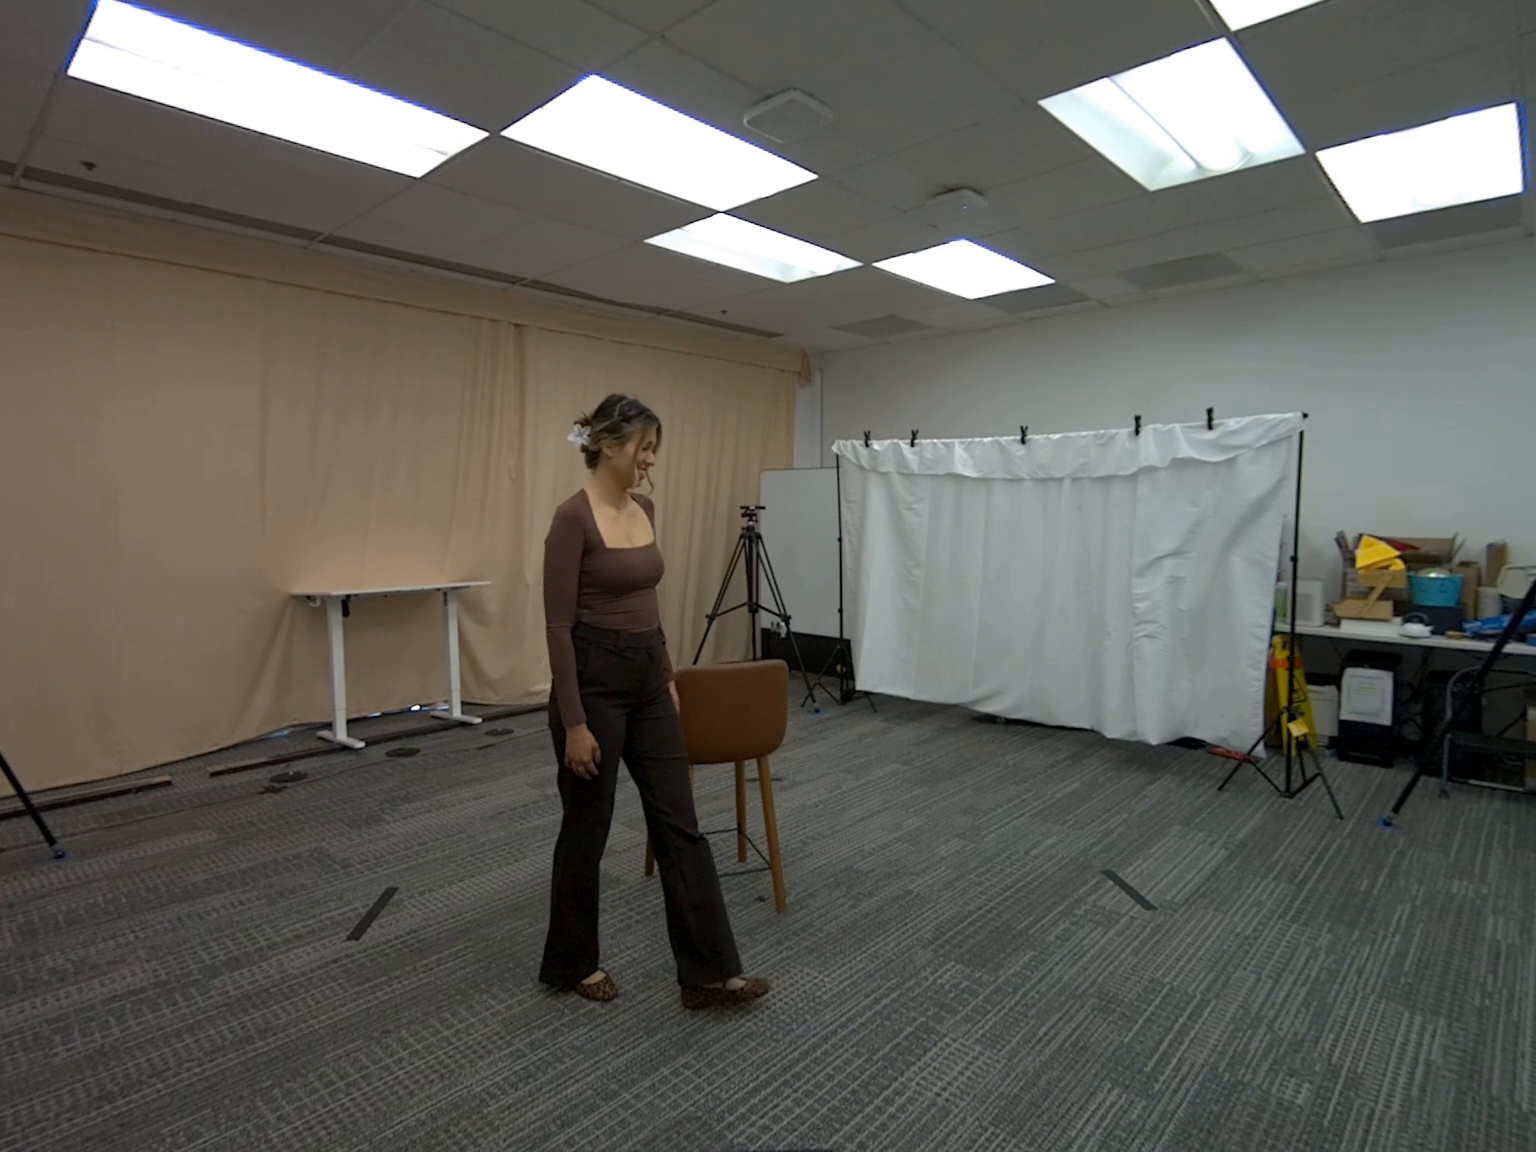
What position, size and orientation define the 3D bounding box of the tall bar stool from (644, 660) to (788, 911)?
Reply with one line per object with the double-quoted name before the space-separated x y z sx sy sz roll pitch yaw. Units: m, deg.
"tall bar stool" -0.192 0.709 3.008 0.447 0.887 0.479 -2 5 -22
